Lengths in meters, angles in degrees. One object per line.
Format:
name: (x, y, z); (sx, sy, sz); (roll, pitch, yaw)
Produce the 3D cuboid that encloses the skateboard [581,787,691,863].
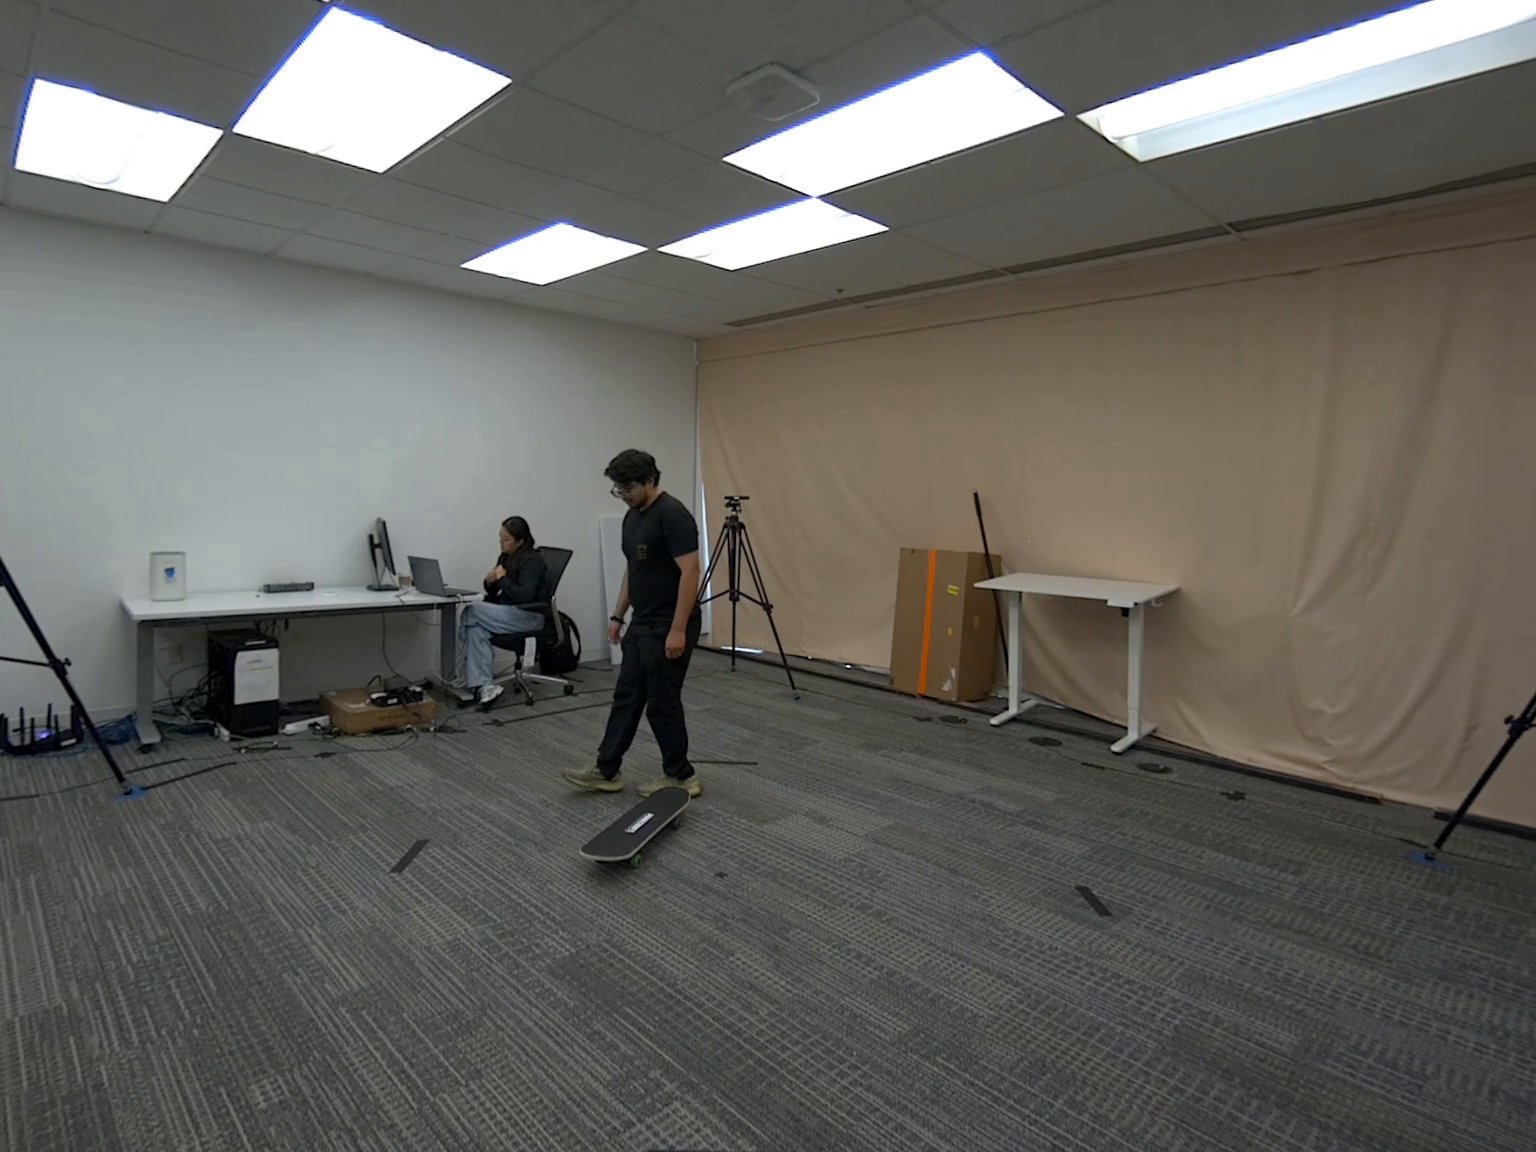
skateboard: (-0.527, 1.014, 3.353); (0.196, 0.110, 0.777); (3, 5, 15)
